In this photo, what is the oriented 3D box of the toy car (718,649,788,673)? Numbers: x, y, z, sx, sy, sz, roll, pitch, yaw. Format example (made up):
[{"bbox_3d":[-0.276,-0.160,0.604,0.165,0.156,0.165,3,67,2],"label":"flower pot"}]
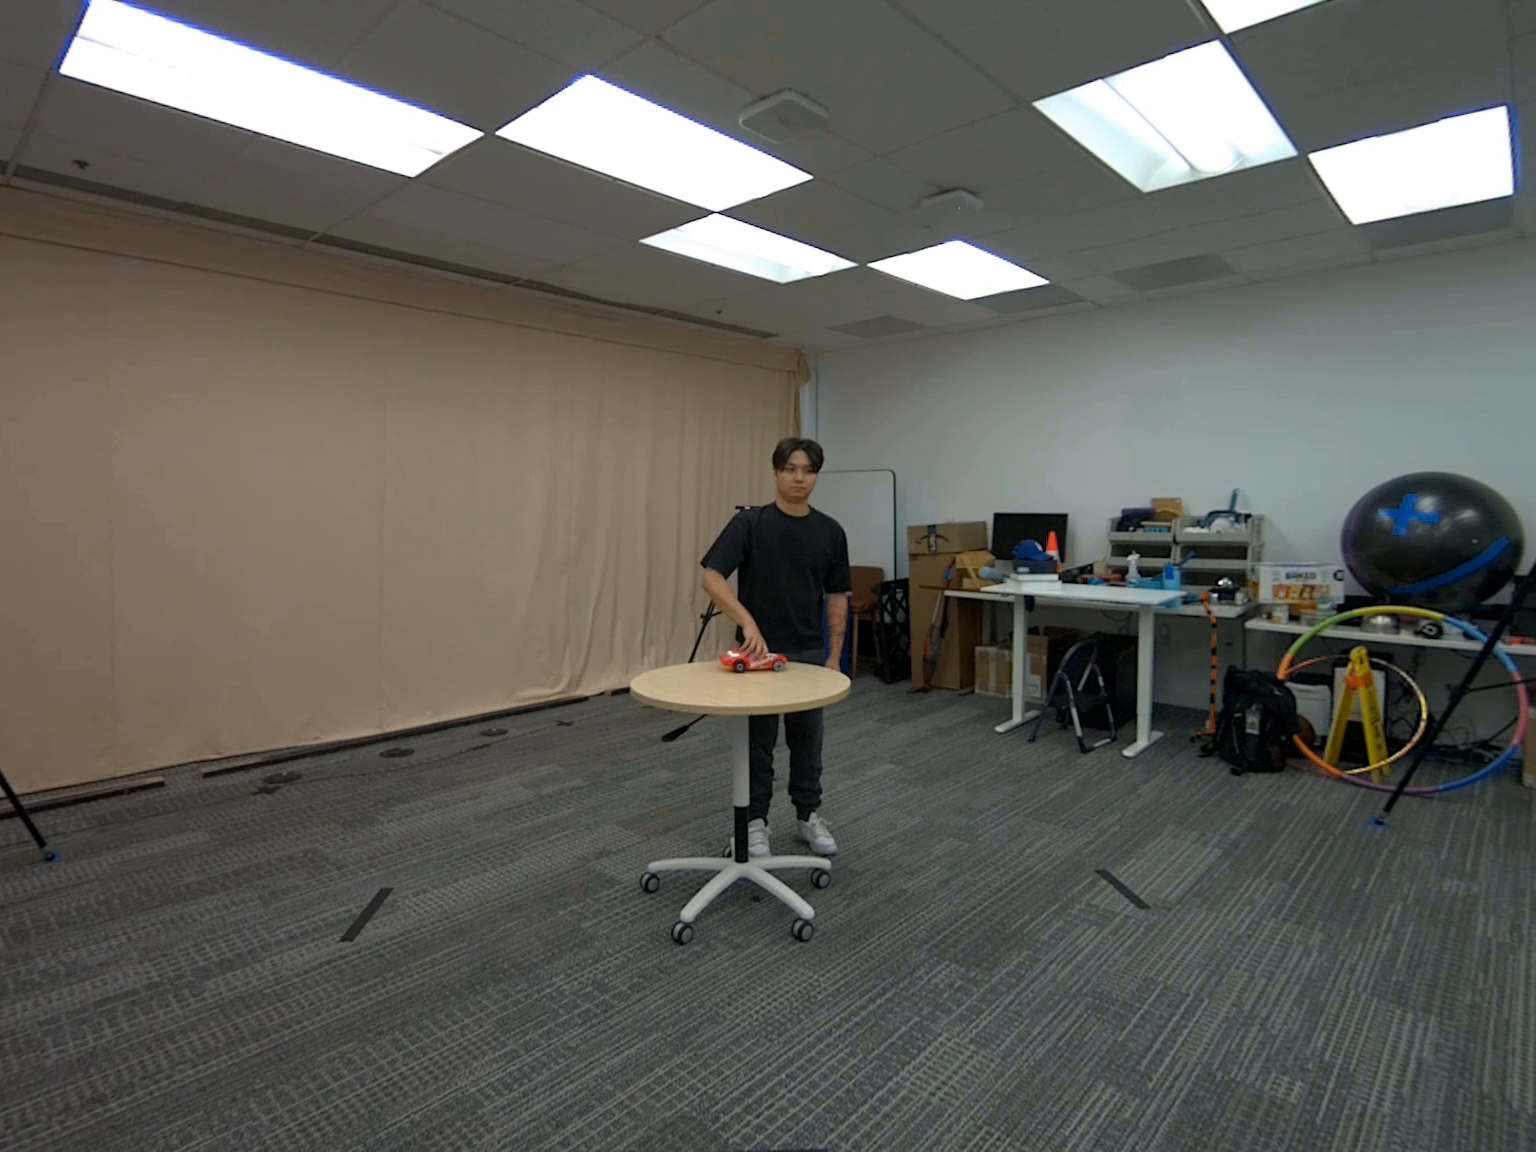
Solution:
[{"bbox_3d":[-0.063,0.315,3.120,0.252,0.083,0.132,9,2,-9],"label":"toy car"}]
